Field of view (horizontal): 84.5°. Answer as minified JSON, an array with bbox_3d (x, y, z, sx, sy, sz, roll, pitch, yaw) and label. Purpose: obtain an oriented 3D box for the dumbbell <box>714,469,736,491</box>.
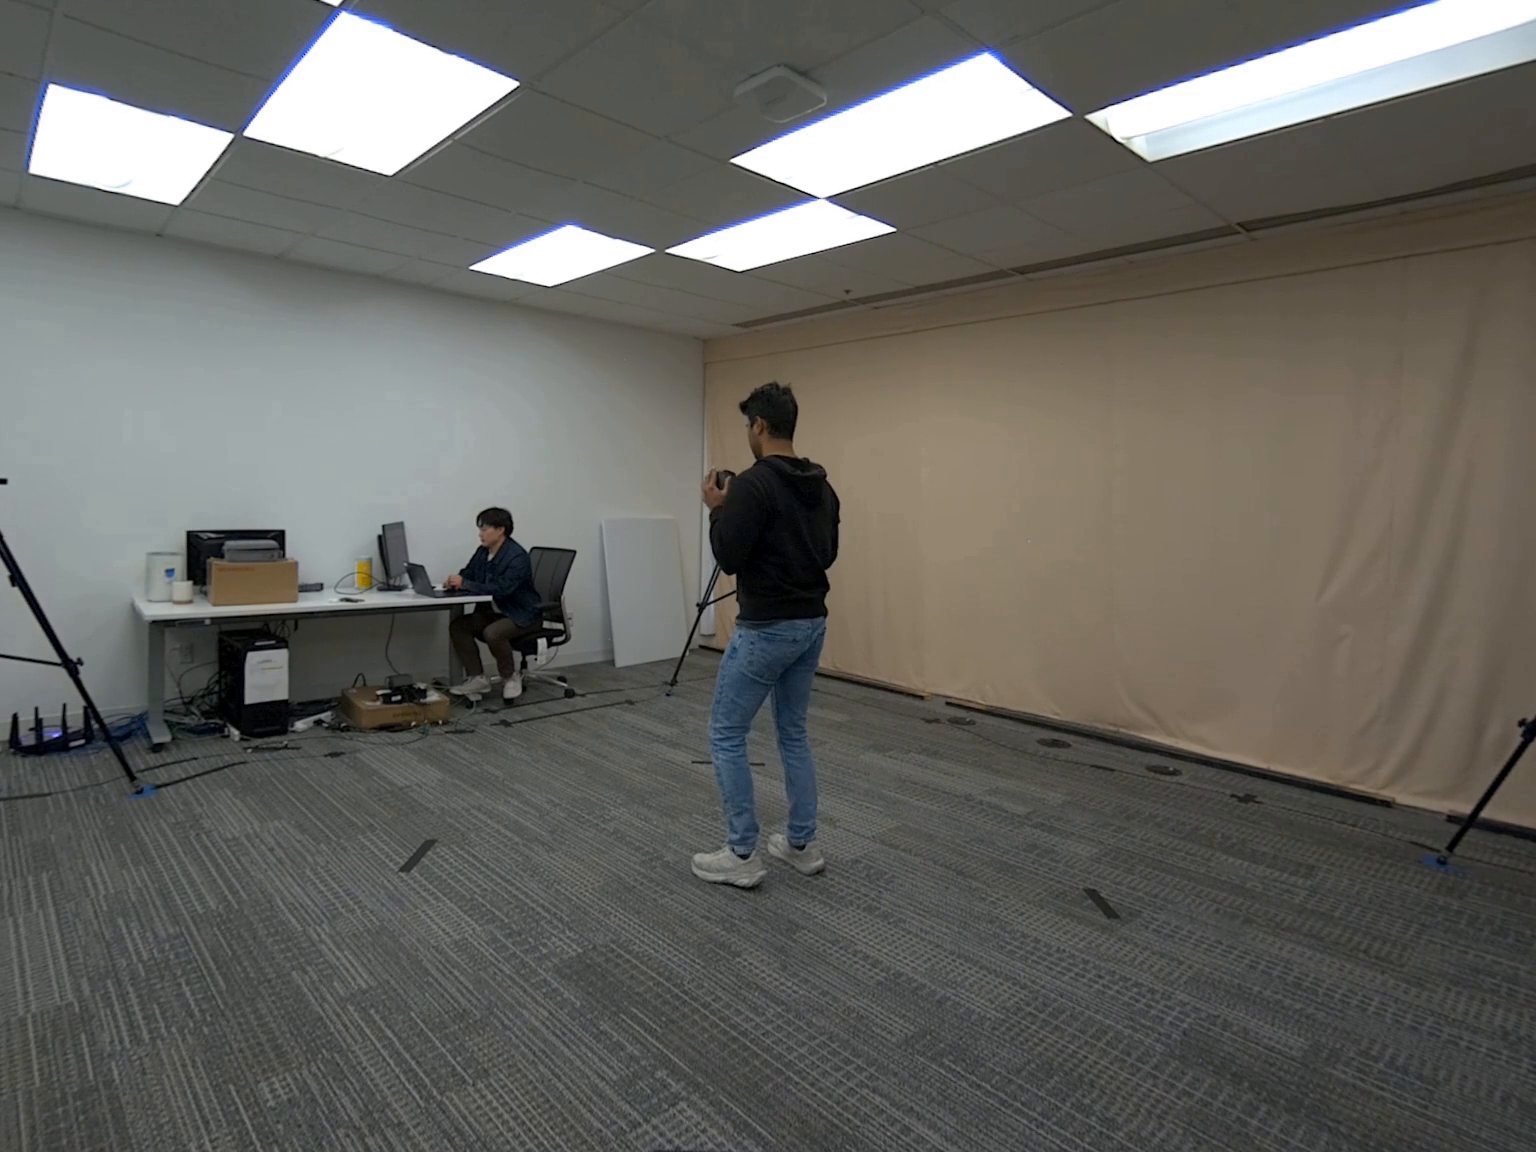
[{"bbox_3d":[-0.105,-0.316,3.238,0.109,0.125,0.286,-33,-23,23],"label":"dumbbell"}]
